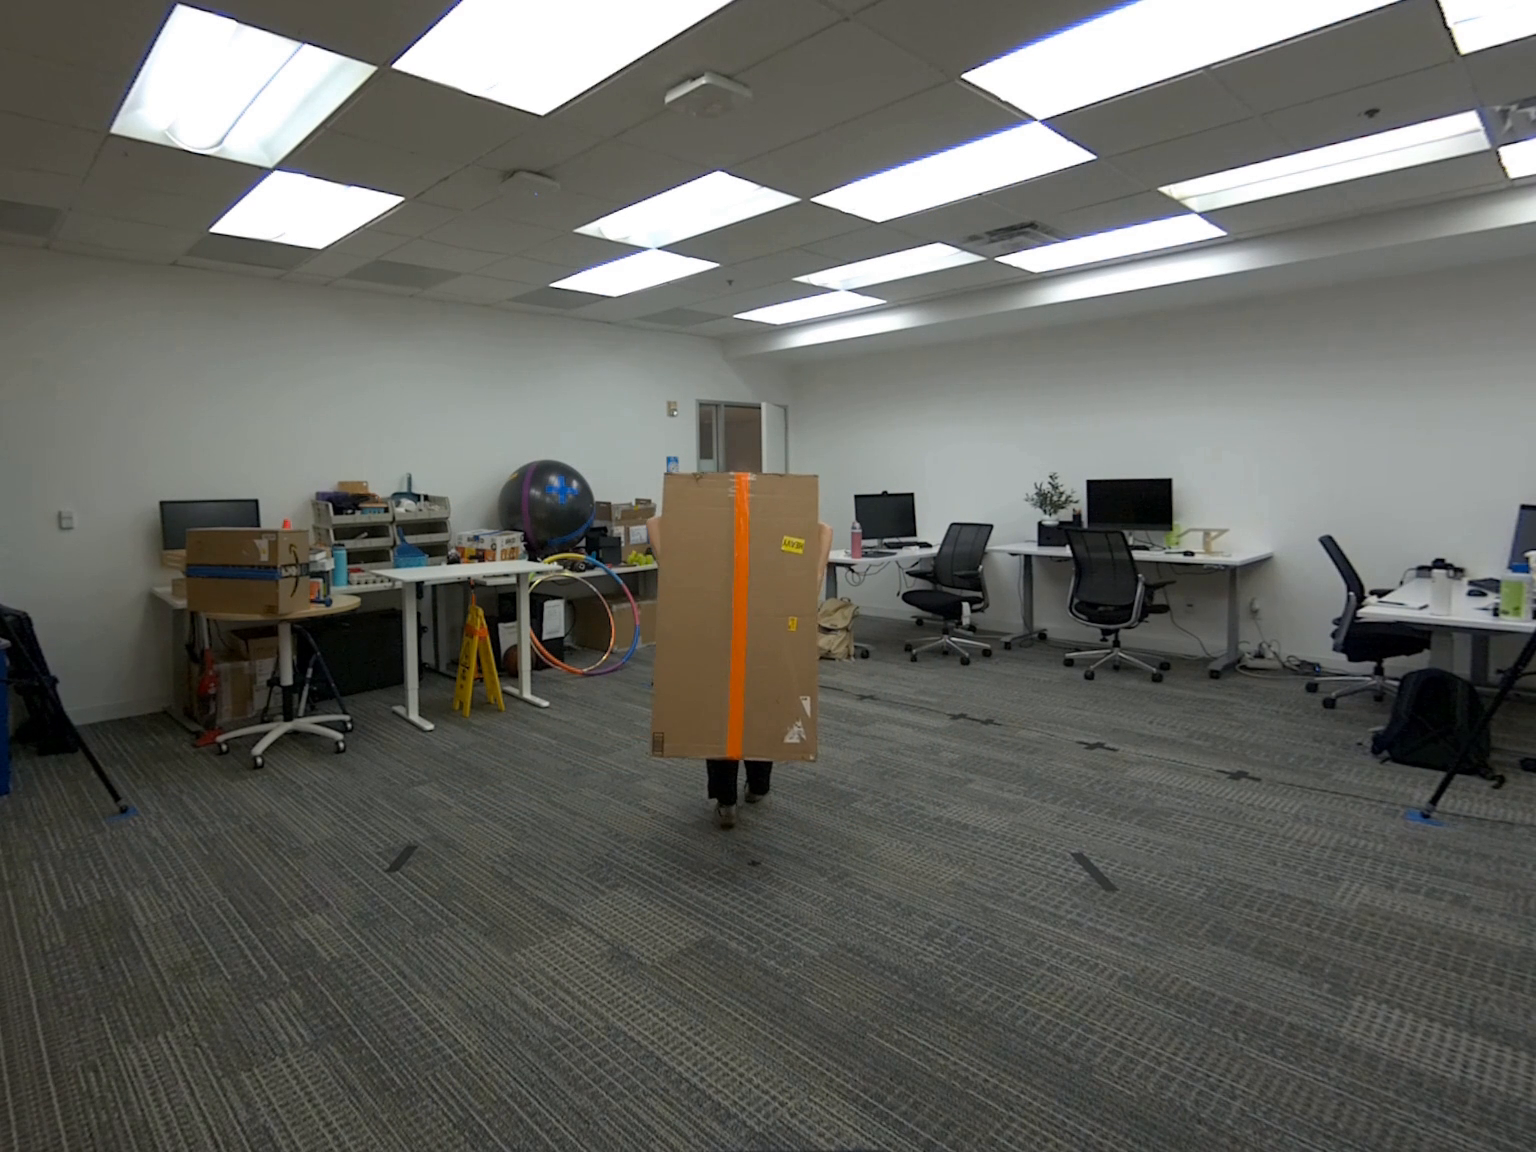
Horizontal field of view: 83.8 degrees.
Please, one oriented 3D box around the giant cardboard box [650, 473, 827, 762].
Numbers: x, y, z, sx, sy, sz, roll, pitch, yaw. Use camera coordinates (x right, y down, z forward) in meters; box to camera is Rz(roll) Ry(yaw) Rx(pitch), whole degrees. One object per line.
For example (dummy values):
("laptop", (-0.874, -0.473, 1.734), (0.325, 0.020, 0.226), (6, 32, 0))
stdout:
("giant cardboard box", (-0.111, 0.162, 3.230), (0.578, 1.037, 0.421), (1, -12, 0))
